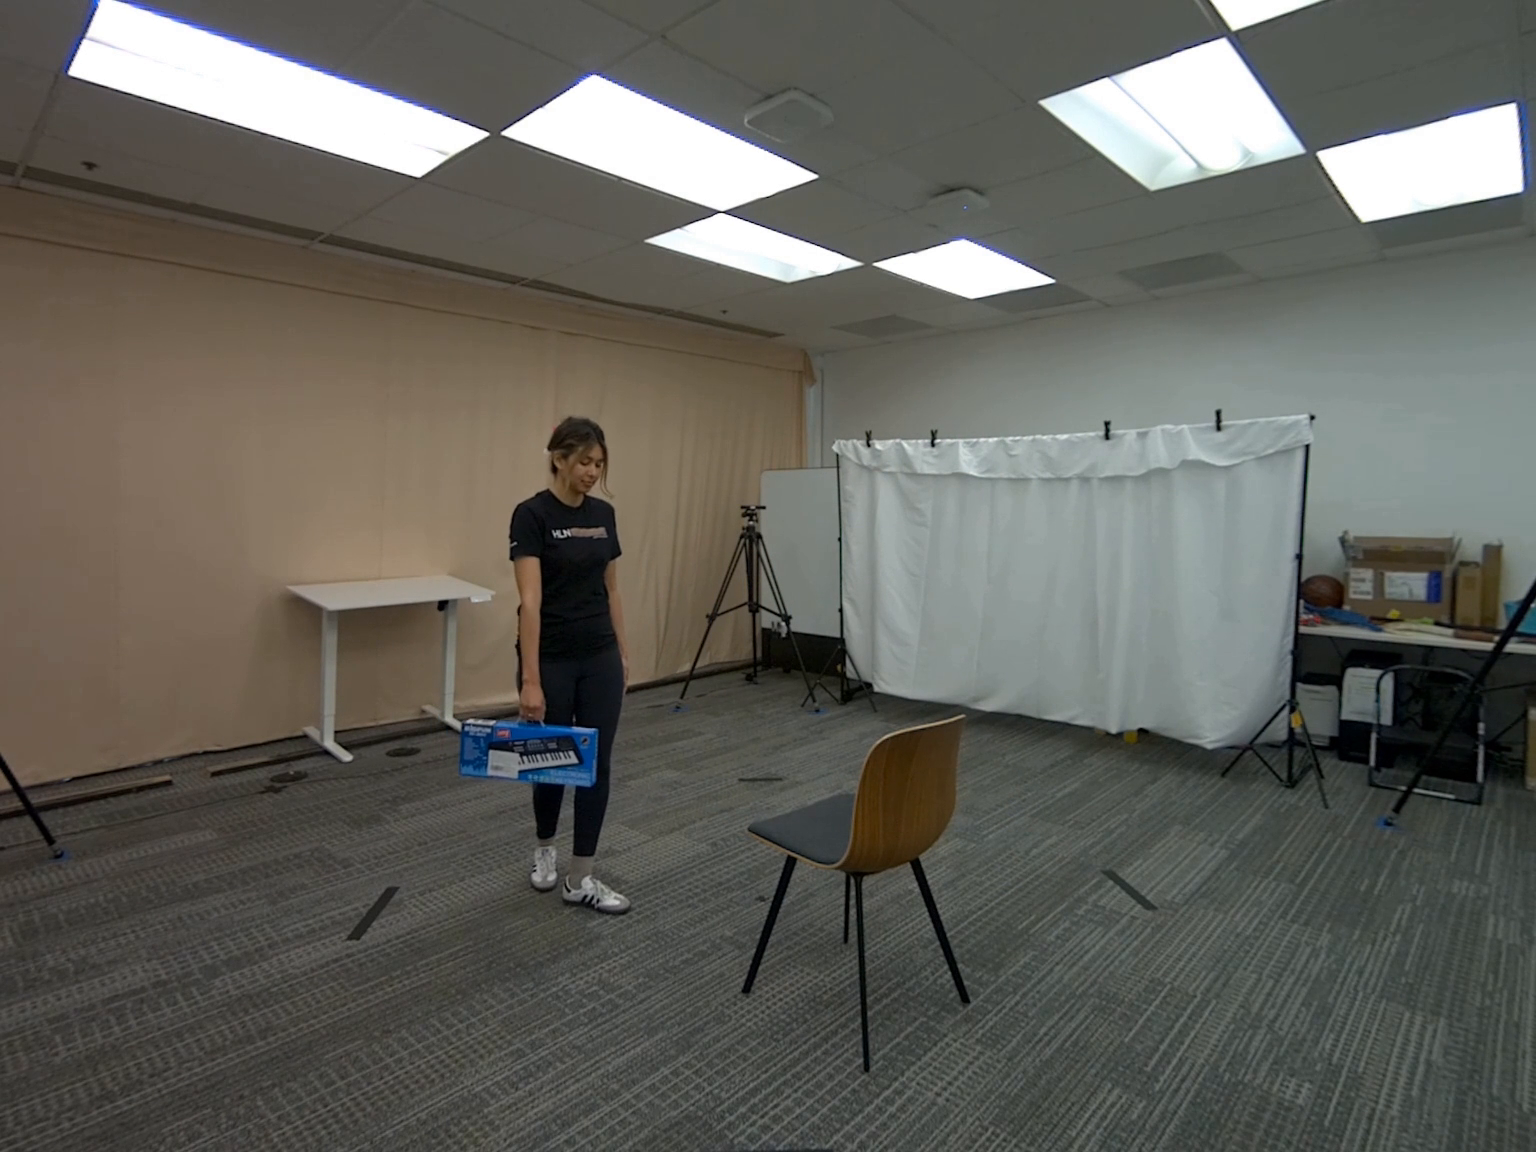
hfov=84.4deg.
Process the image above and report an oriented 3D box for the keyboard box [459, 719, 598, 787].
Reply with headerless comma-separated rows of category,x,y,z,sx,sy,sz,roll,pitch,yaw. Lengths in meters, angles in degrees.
keyboard box,-0.768,0.555,2.697,0.440,0.175,0.059,3,3,7
